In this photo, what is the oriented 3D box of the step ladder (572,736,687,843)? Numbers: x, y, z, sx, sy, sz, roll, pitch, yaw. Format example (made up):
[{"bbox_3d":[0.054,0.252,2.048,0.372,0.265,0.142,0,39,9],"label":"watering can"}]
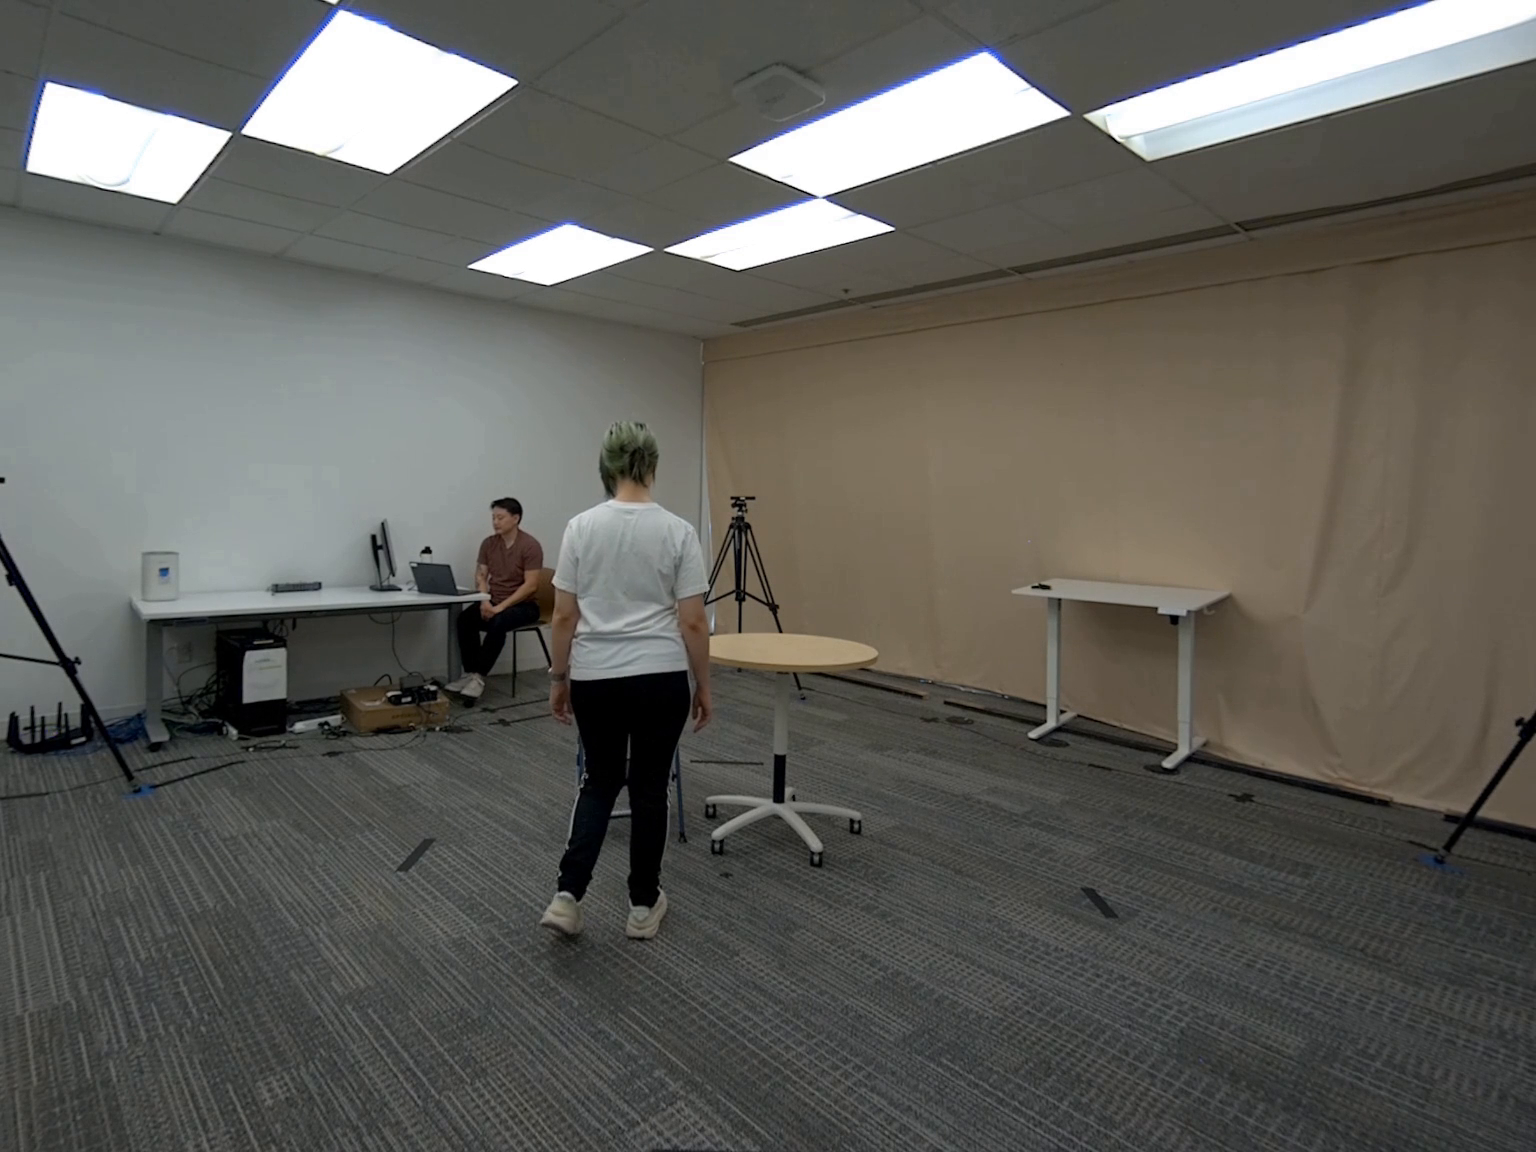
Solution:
[{"bbox_3d":[-0.579,0.760,3.483,0.424,0.605,0.355,1,3,-19],"label":"step ladder"}]
